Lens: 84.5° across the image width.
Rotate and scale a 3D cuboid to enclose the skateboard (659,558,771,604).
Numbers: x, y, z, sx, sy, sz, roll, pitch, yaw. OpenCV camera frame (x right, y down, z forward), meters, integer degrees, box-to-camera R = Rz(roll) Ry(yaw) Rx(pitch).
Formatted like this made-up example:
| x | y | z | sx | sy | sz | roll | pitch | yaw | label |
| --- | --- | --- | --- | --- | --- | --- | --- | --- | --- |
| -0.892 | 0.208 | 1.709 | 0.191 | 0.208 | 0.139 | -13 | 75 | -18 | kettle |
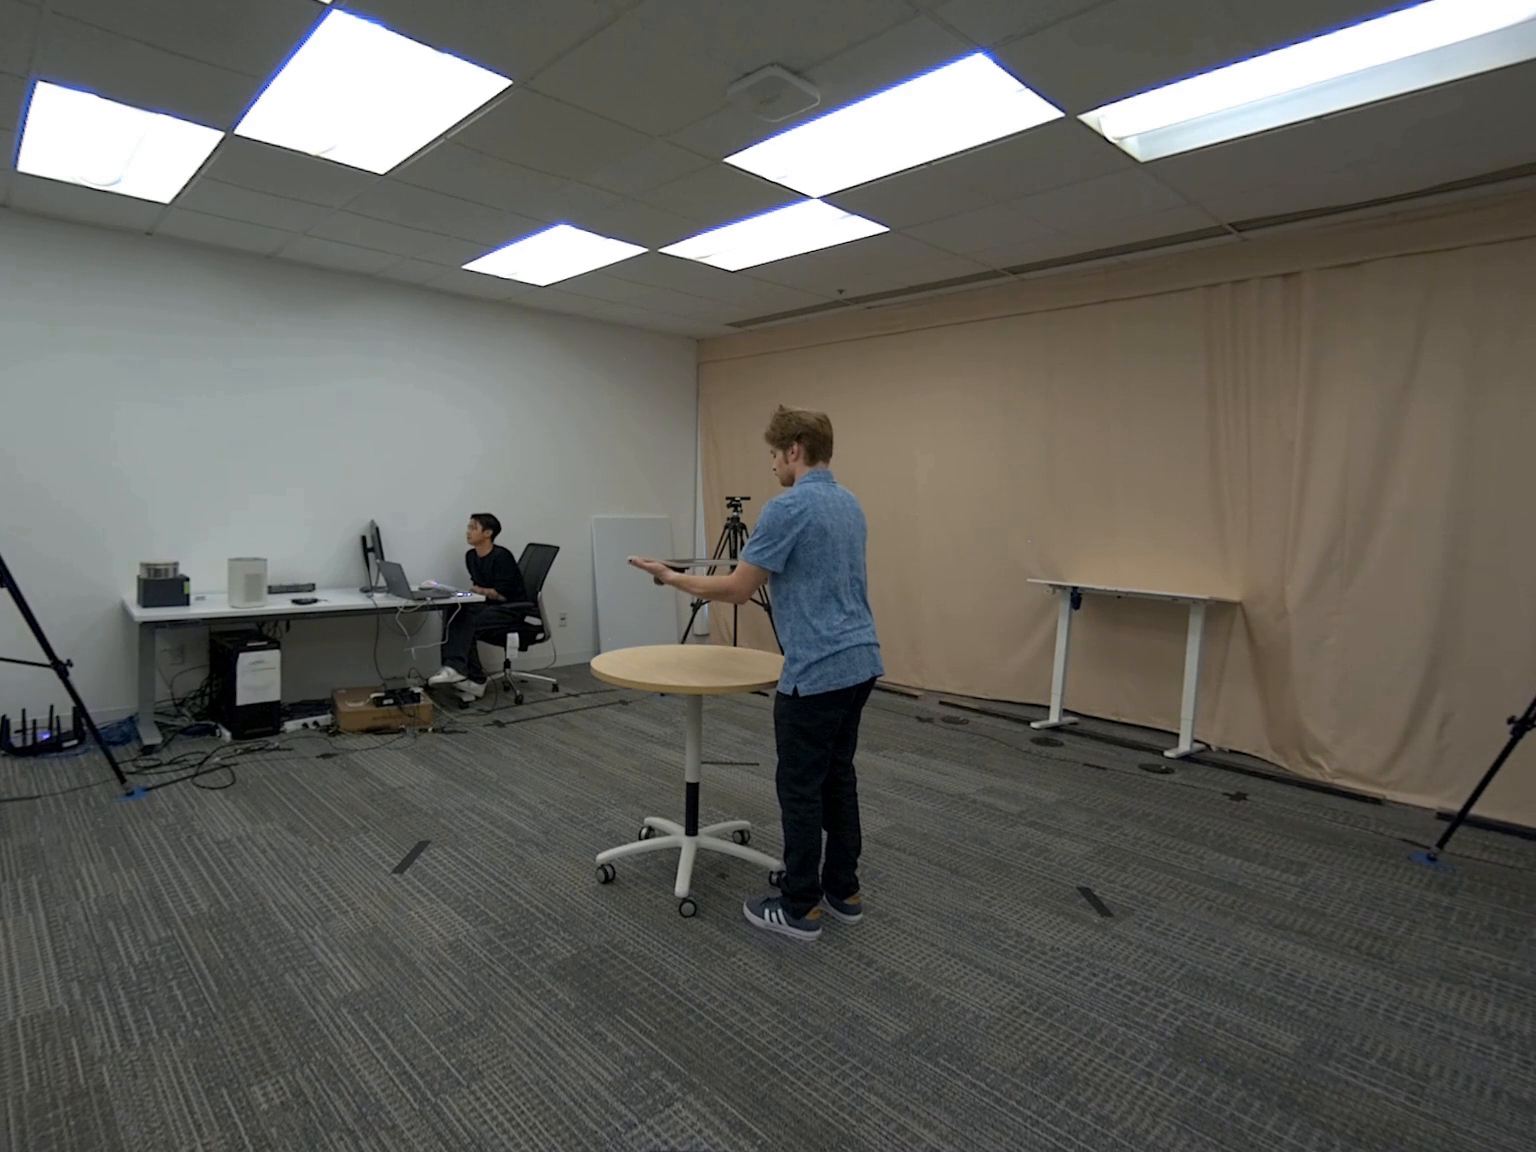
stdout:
| x | y | z | sx | sy | sz | roll | pitch | yaw | label |
| --- | --- | --- | --- | --- | --- | --- | --- | --- | --- |
| -0.192 | -0.015 | 3.064 | 0.198 | 0.110 | 0.767 | 6 | 6 | 40 | skateboard |
